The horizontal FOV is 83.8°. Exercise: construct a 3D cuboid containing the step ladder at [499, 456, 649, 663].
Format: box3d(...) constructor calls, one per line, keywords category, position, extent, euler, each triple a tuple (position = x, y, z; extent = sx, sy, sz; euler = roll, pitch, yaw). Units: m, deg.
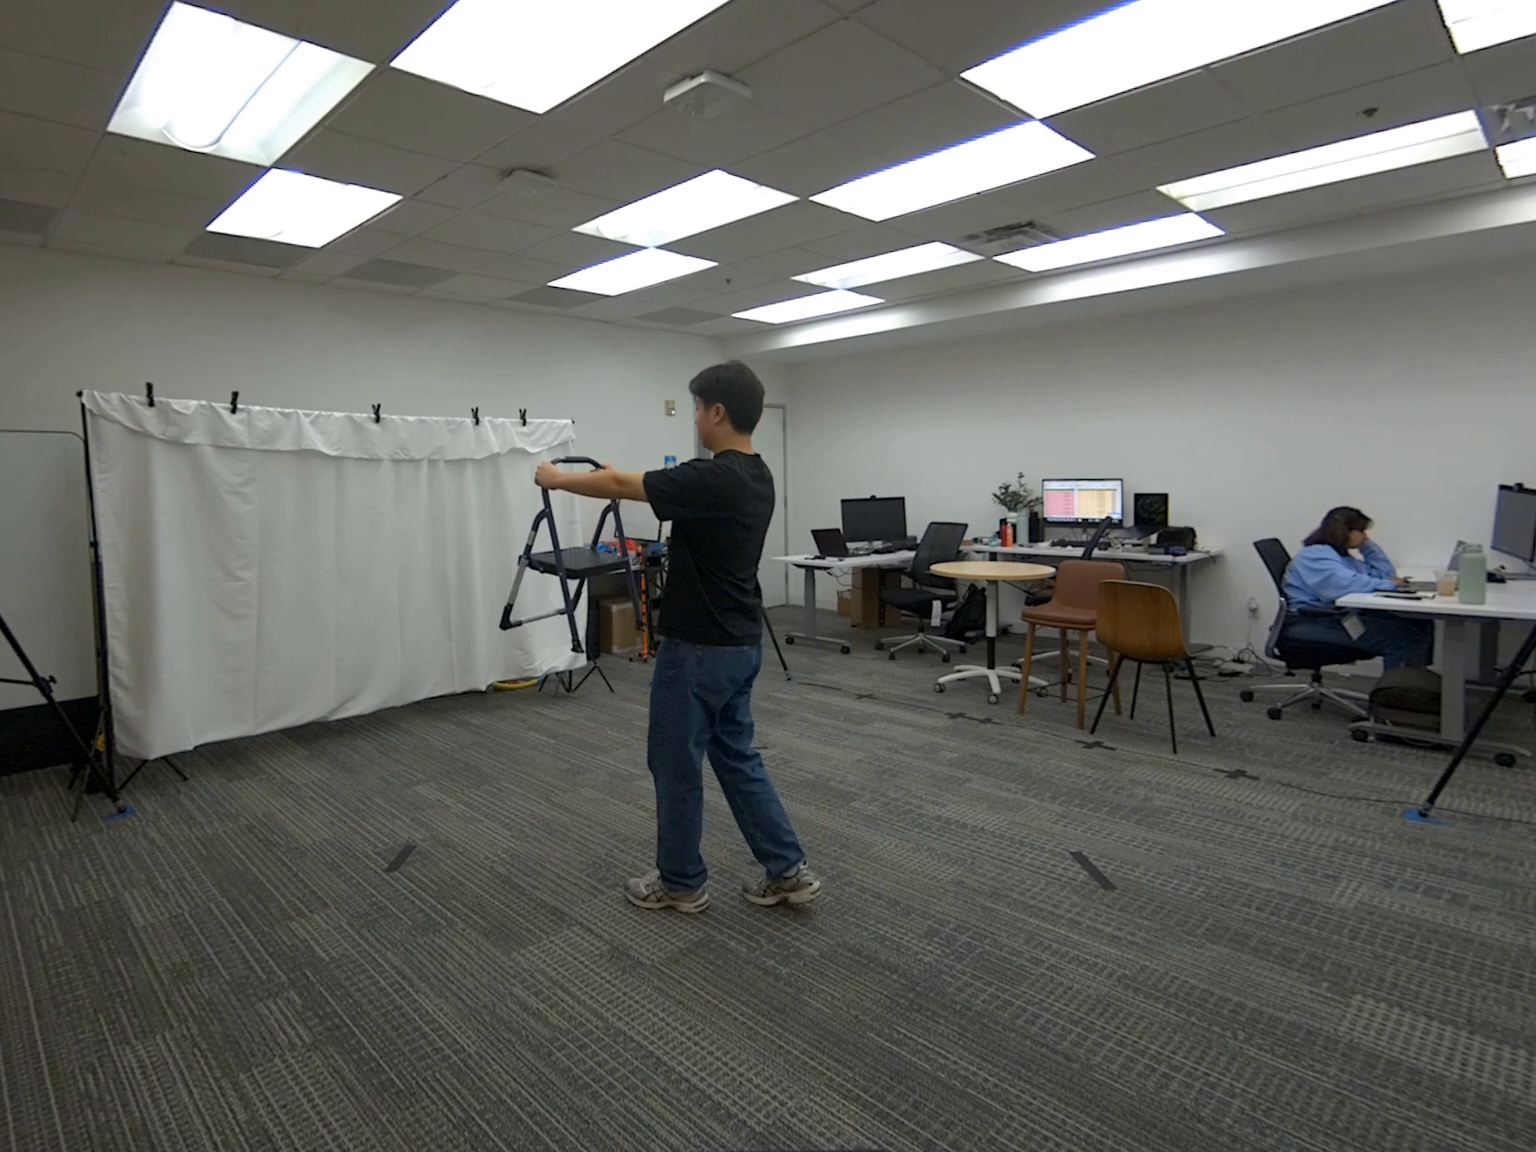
box3d(category="step ladder", position=(-0.636, -0.100, 2.991), extent=(0.356, 0.601, 0.425), euler=(8, 10, 19))
